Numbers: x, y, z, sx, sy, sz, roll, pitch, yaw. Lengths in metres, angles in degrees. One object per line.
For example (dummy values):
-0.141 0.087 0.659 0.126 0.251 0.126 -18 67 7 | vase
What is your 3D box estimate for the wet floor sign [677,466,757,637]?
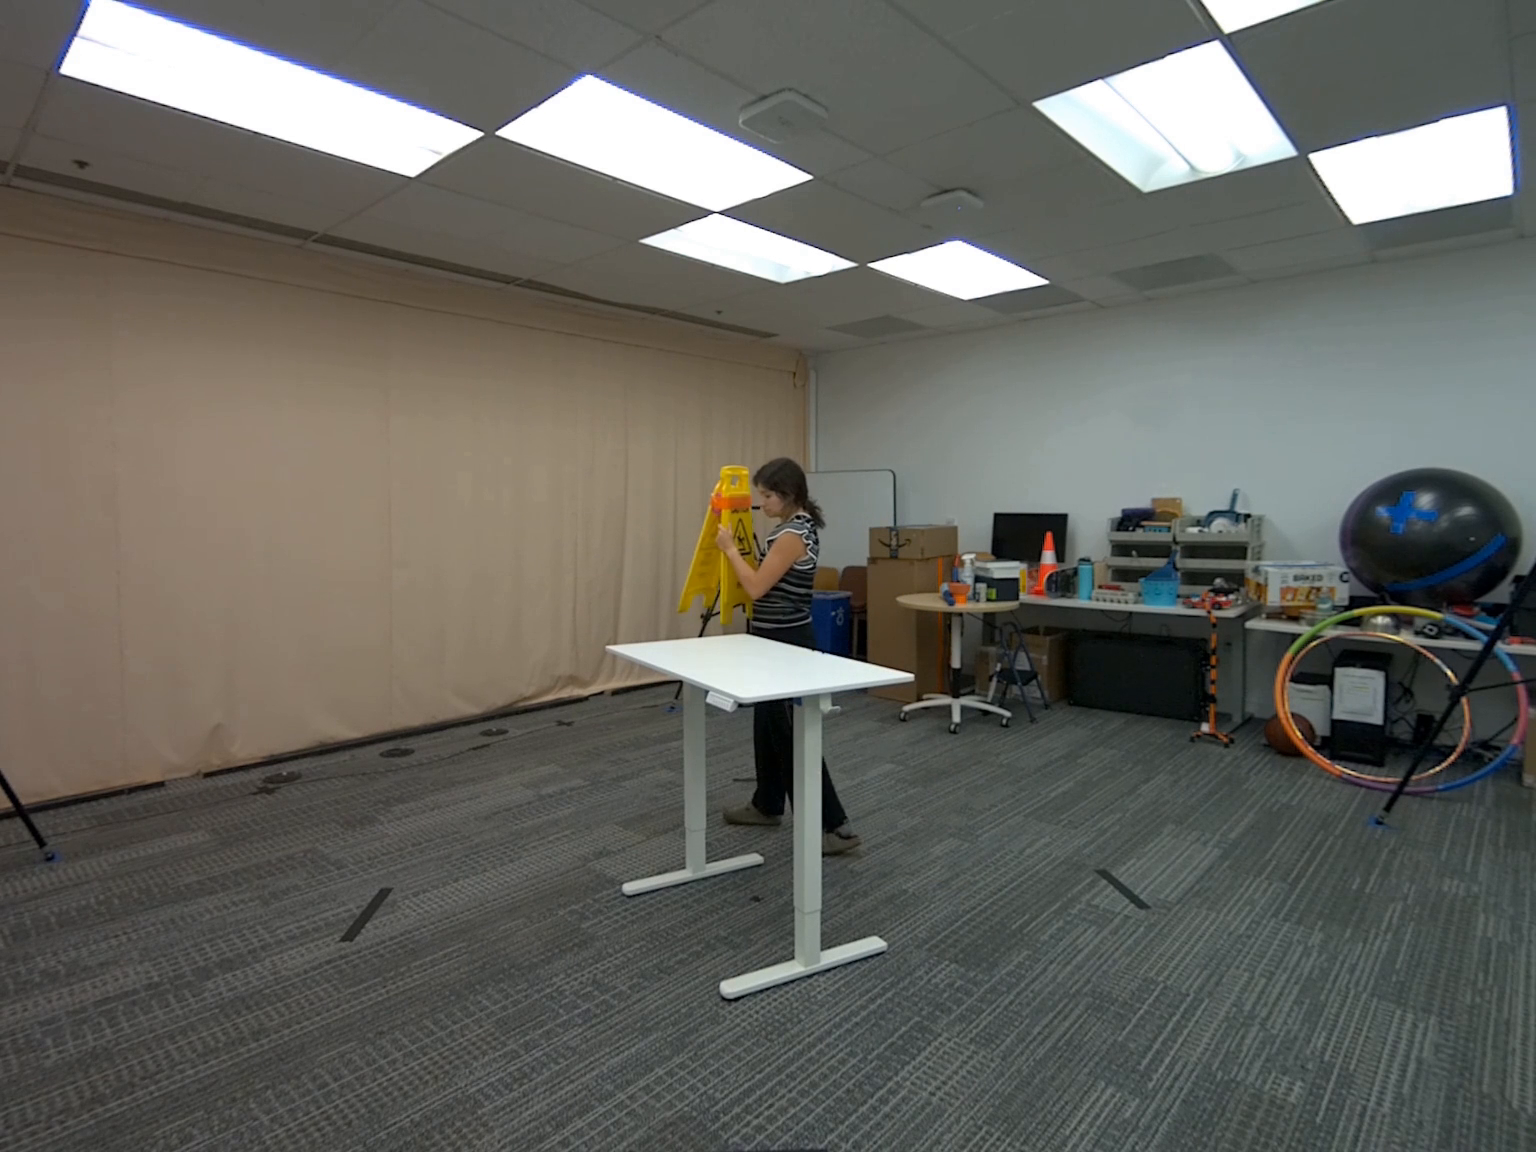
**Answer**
-0.167 -0.141 3.624 0.298 0.643 0.275 12 11 28 | wet floor sign
